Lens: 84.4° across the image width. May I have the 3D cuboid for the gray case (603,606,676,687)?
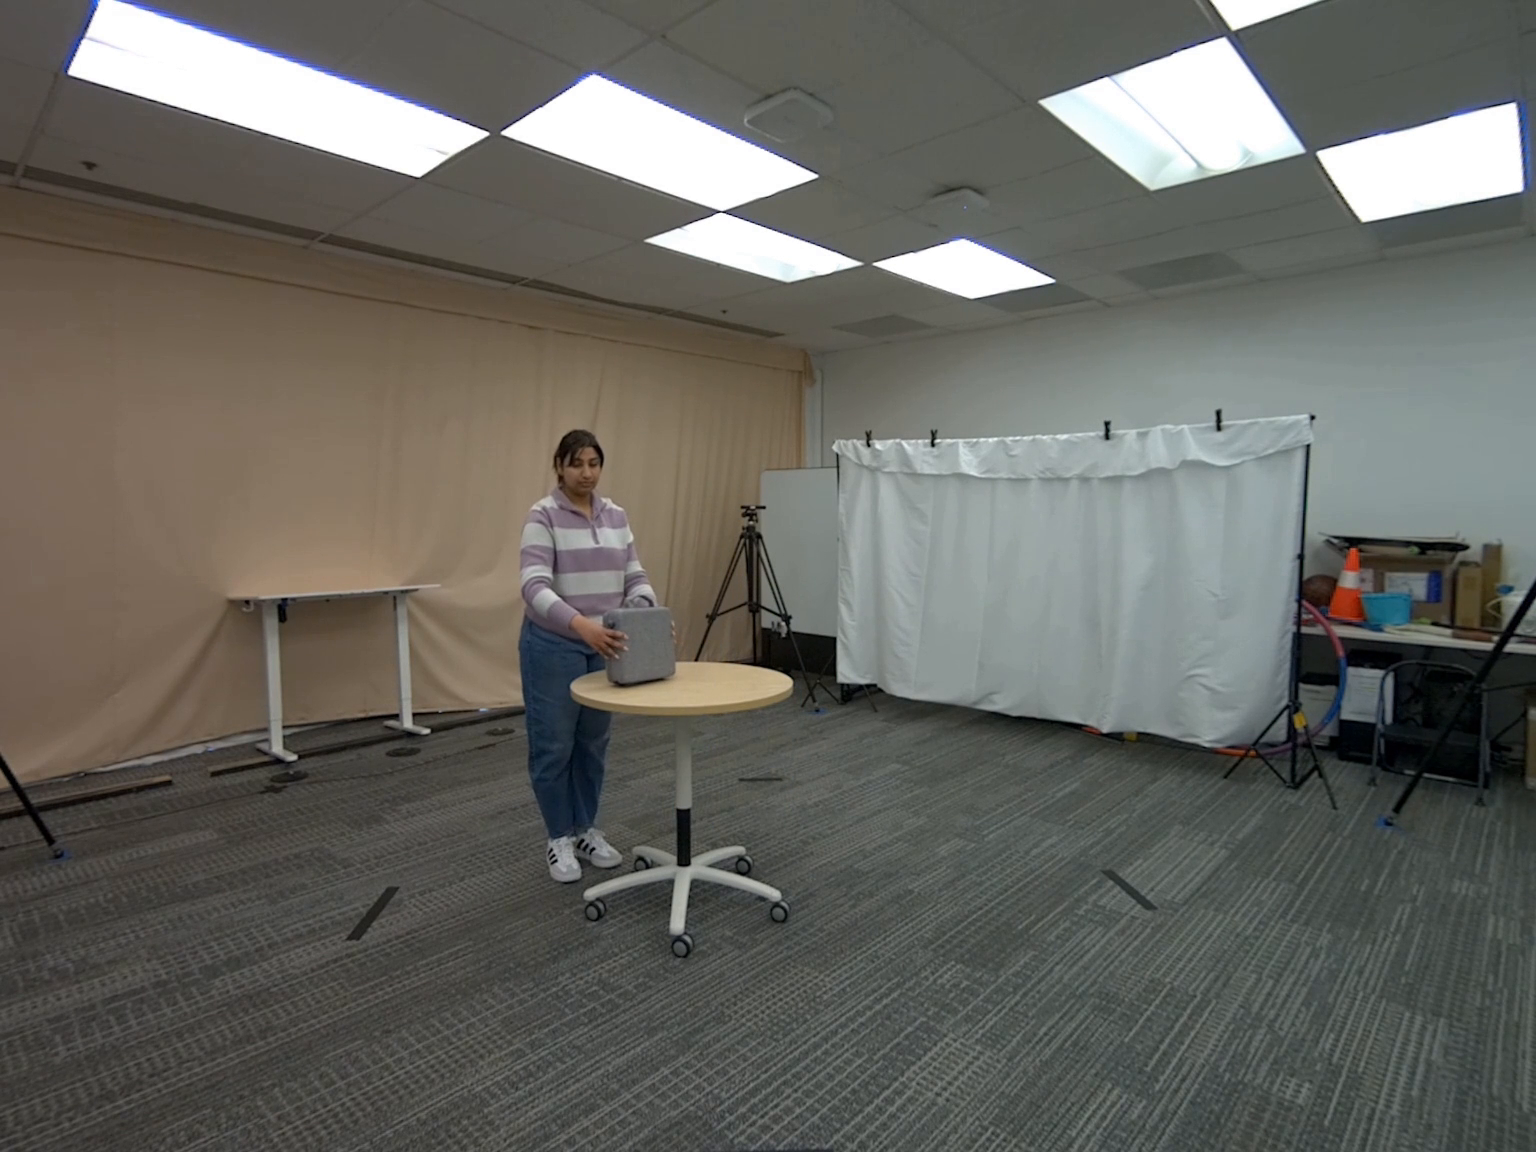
[{"bbox_3d":[-0.436,0.233,2.910,0.107,0.261,0.249,-6,-3,44],"label":"gray case"}]
